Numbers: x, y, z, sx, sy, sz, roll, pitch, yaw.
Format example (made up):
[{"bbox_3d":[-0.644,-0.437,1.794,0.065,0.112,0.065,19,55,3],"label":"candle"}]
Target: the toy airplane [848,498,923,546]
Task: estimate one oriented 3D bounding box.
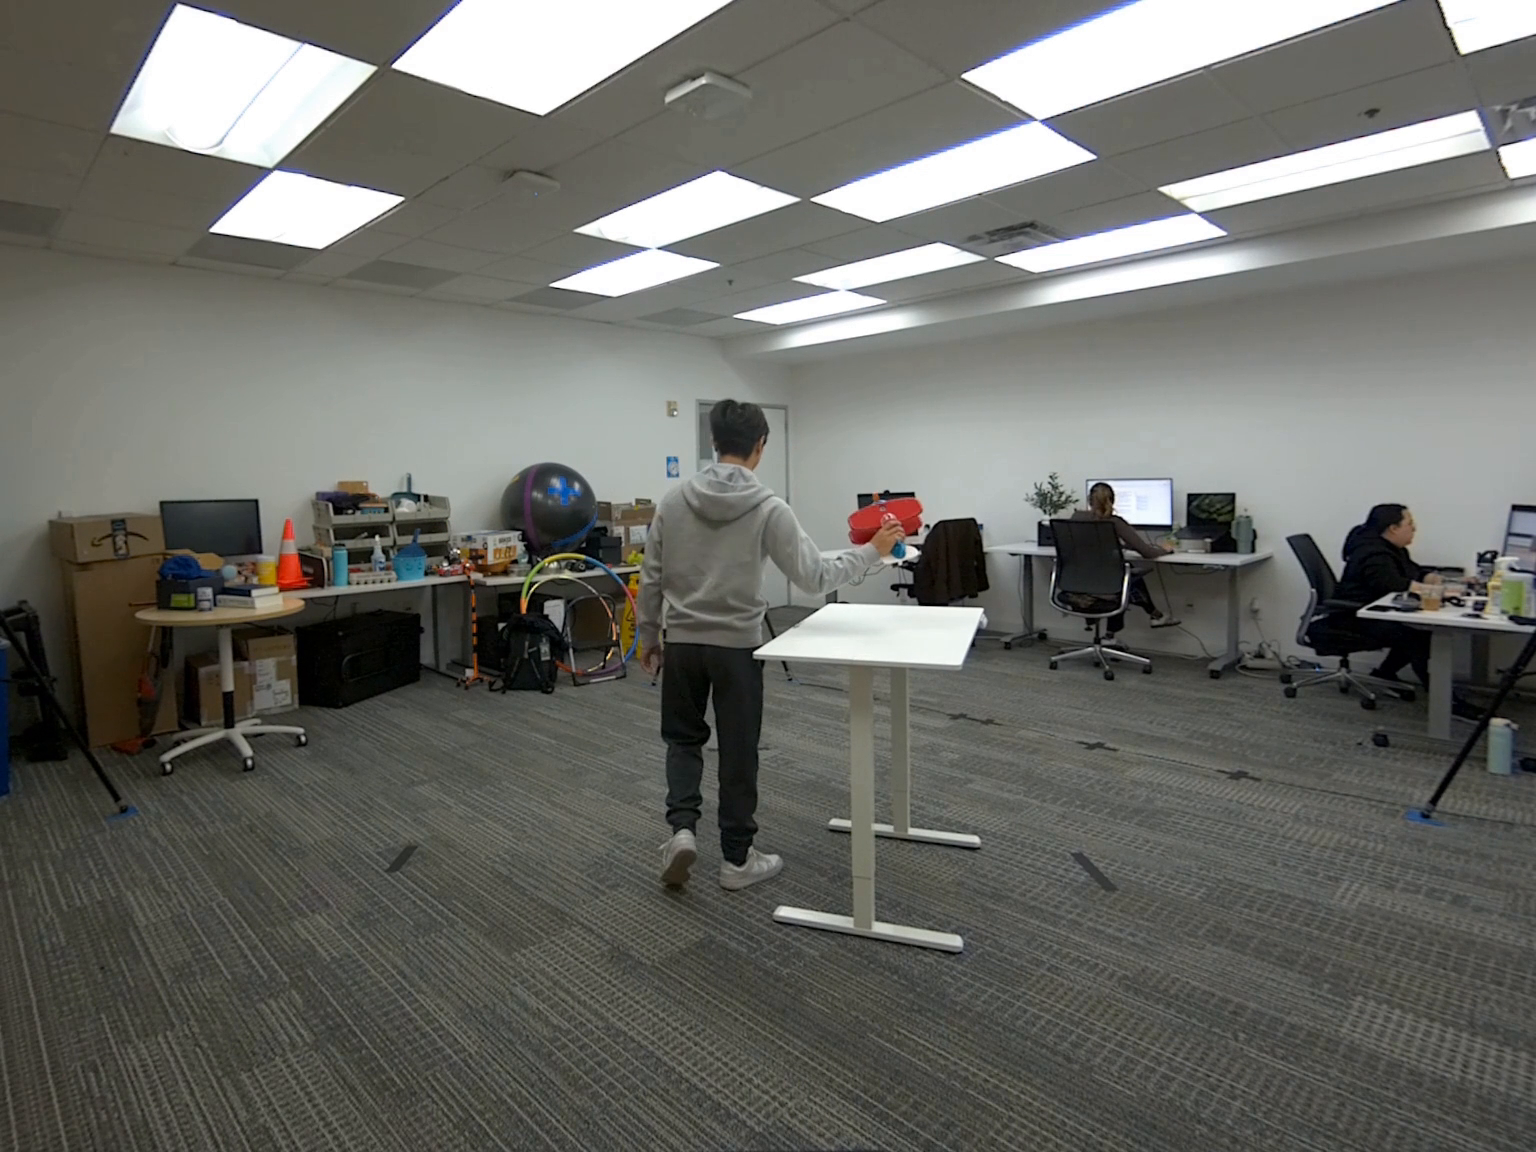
[{"bbox_3d":[0.425,-0.157,2.929,0.249,0.151,0.269,-34,42,-24],"label":"toy airplane"}]
